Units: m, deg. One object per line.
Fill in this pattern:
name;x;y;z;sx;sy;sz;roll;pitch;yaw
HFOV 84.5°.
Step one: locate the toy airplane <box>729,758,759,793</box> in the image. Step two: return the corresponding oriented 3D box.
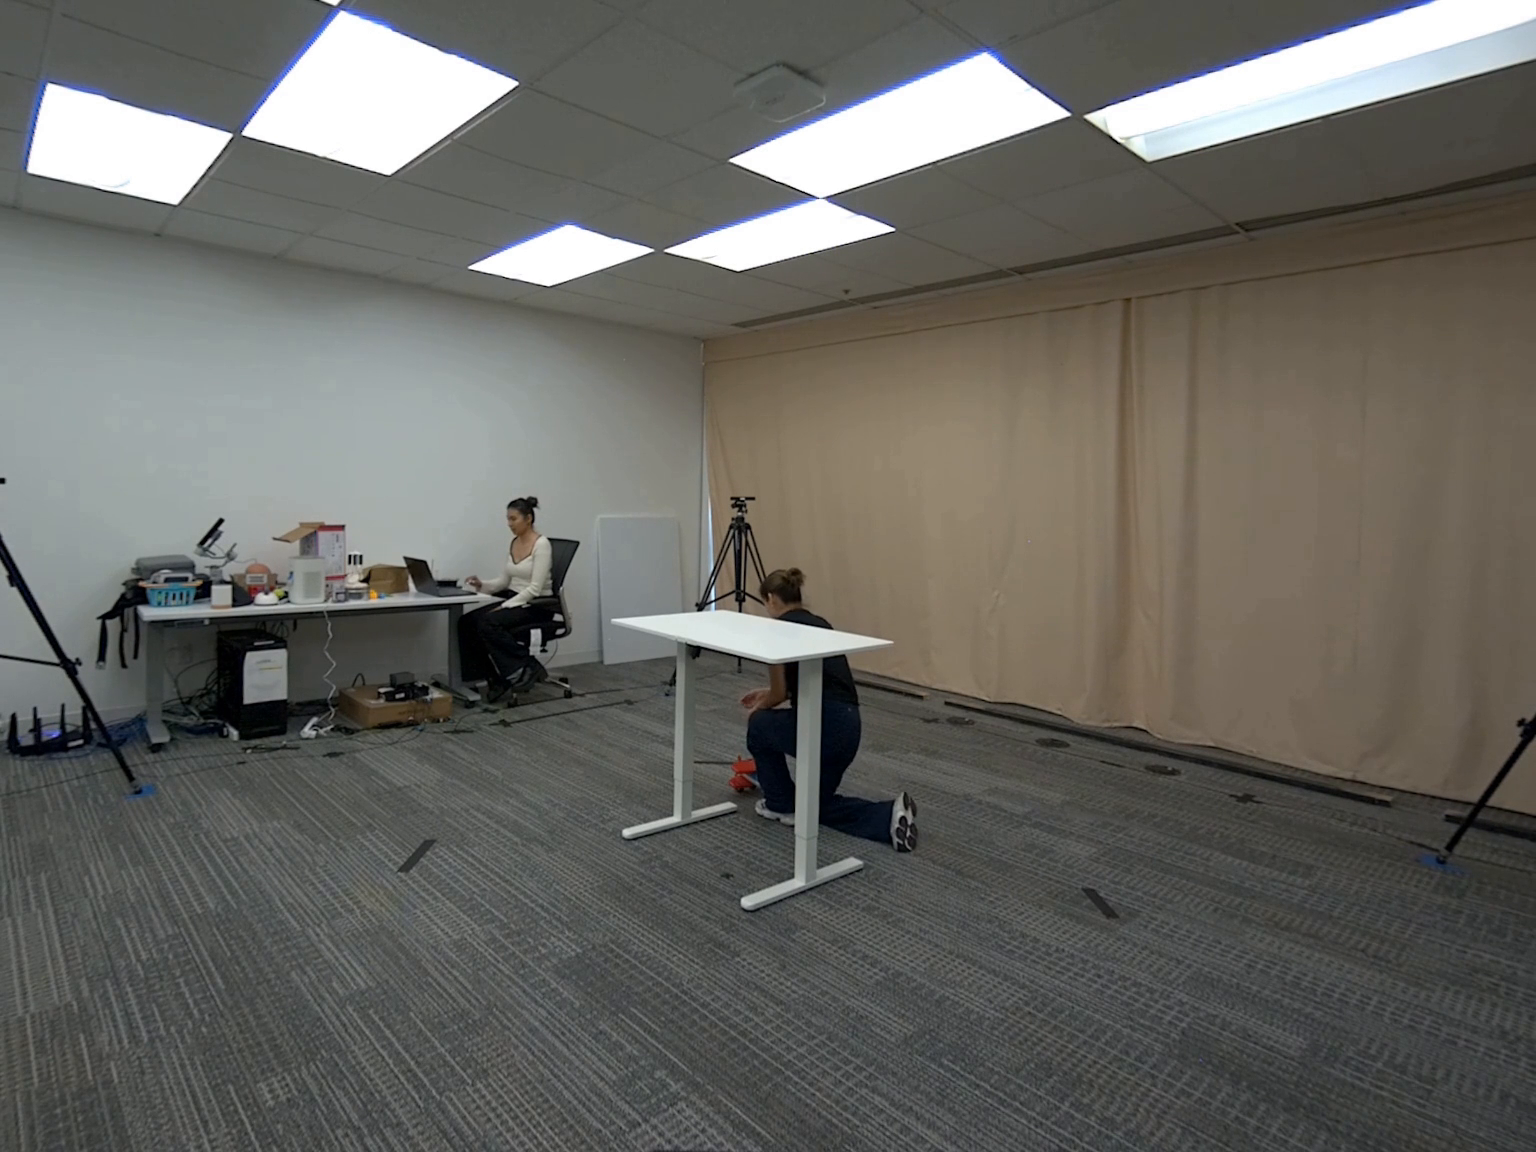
toy airplane;-0.048;0.960;3.985;0.263;0.156;0.247;1;4;21
